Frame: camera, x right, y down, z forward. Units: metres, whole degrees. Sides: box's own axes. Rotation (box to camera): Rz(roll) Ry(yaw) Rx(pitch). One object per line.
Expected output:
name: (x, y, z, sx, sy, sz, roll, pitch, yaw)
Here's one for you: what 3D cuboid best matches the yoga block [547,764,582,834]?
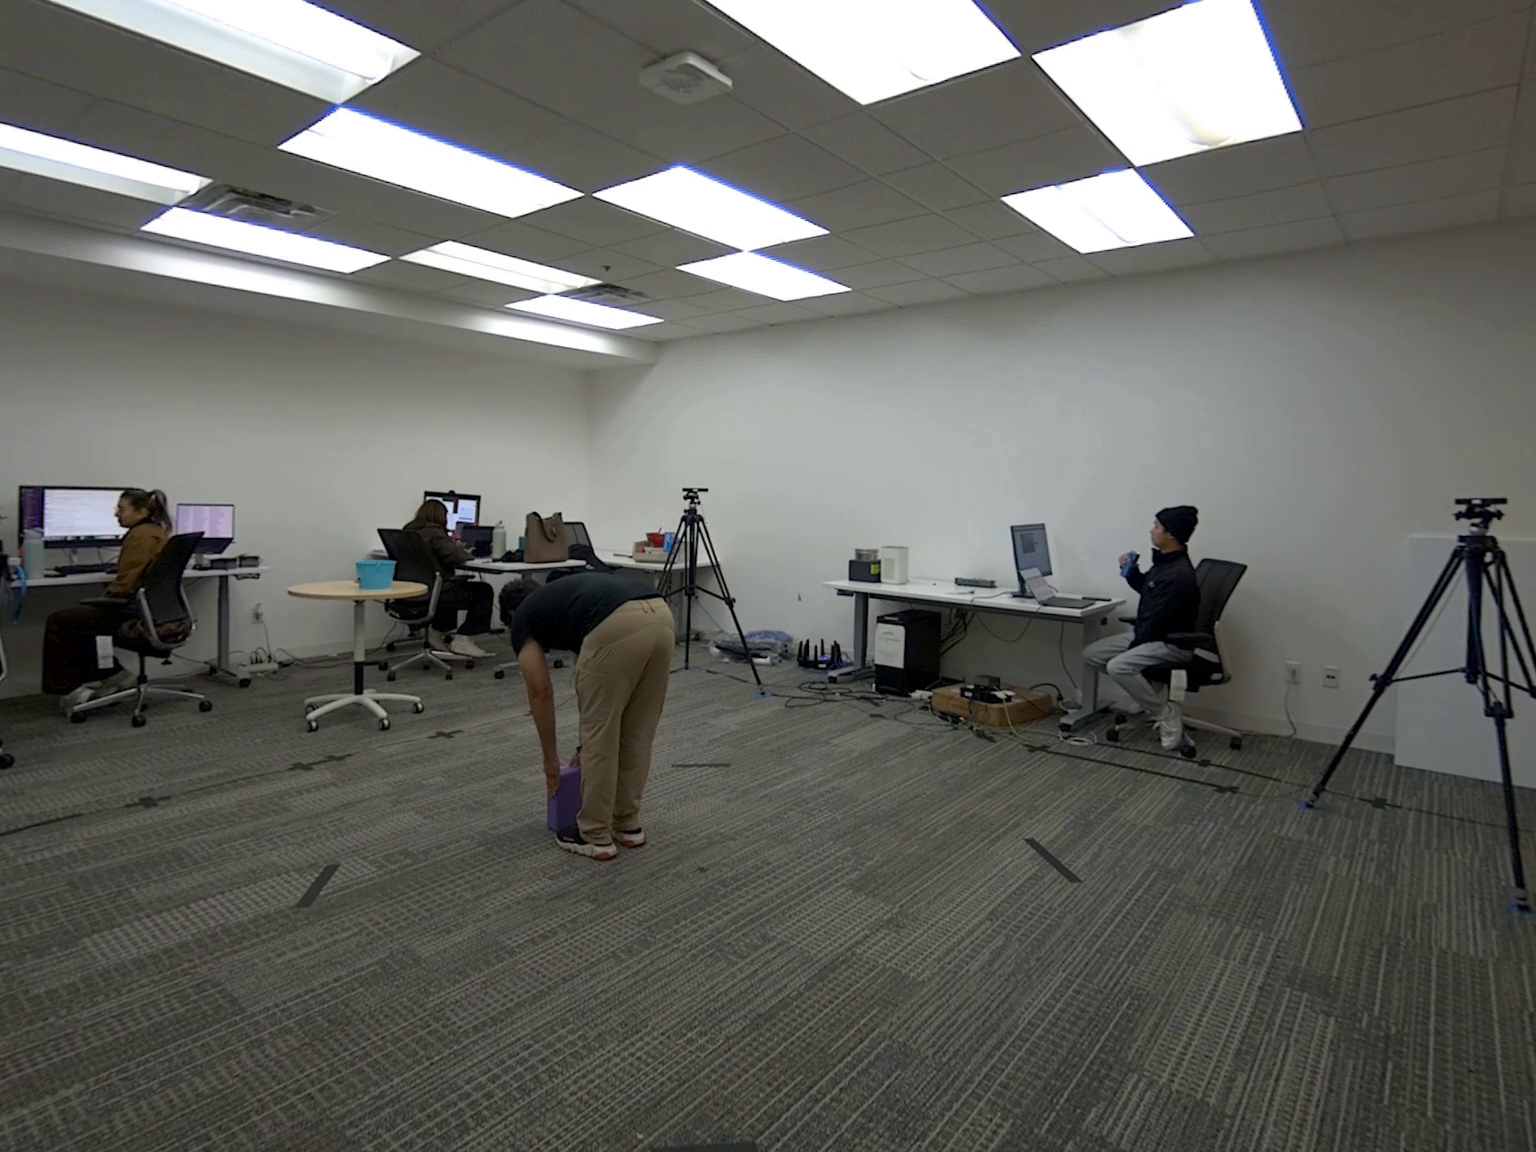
yoga block: (-0.836, 0.909, 3.486, 0.079, 0.229, 0.144, 1, 3, 43)
